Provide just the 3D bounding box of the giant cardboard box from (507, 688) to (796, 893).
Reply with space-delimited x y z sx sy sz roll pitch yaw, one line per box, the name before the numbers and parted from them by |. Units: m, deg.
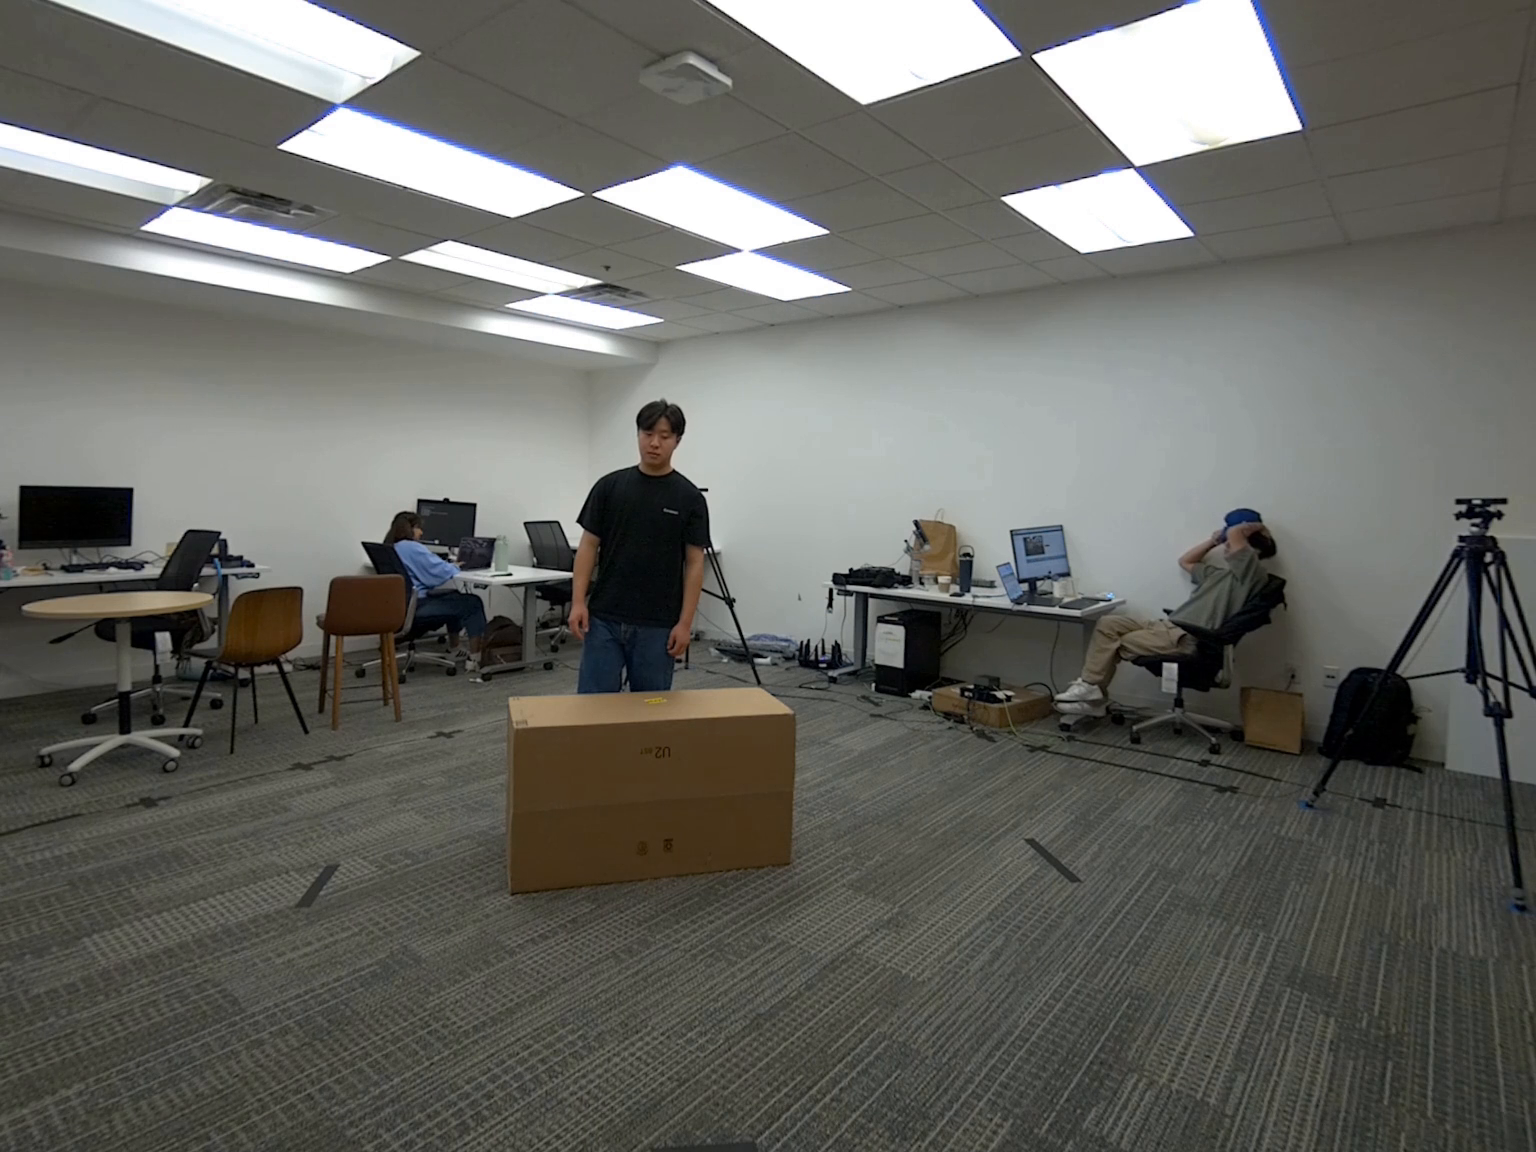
giant cardboard box | -0.461 0.767 3.209 1.008 0.583 0.456 0 3 -18
